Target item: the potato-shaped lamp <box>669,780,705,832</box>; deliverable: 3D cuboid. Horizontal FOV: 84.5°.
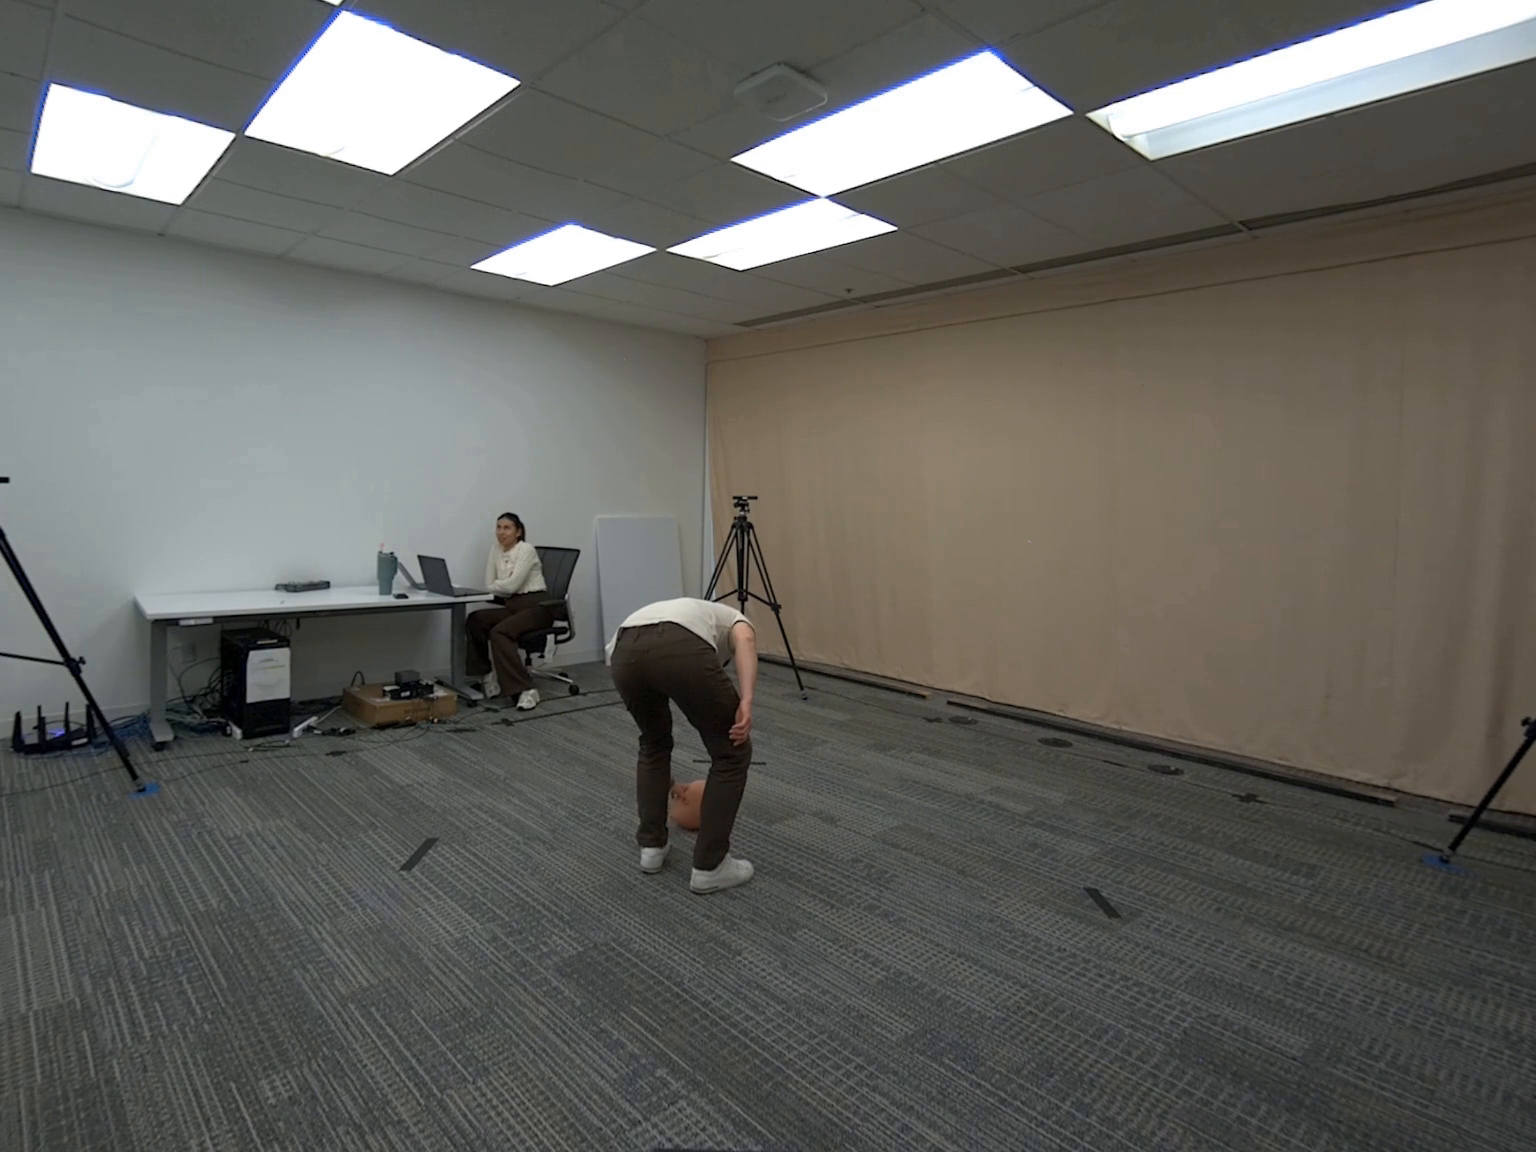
[{"bbox_3d":[-0.320,0.958,3.554,0.173,0.197,0.164,28,12,9],"label":"potato-shaped lamp"}]
